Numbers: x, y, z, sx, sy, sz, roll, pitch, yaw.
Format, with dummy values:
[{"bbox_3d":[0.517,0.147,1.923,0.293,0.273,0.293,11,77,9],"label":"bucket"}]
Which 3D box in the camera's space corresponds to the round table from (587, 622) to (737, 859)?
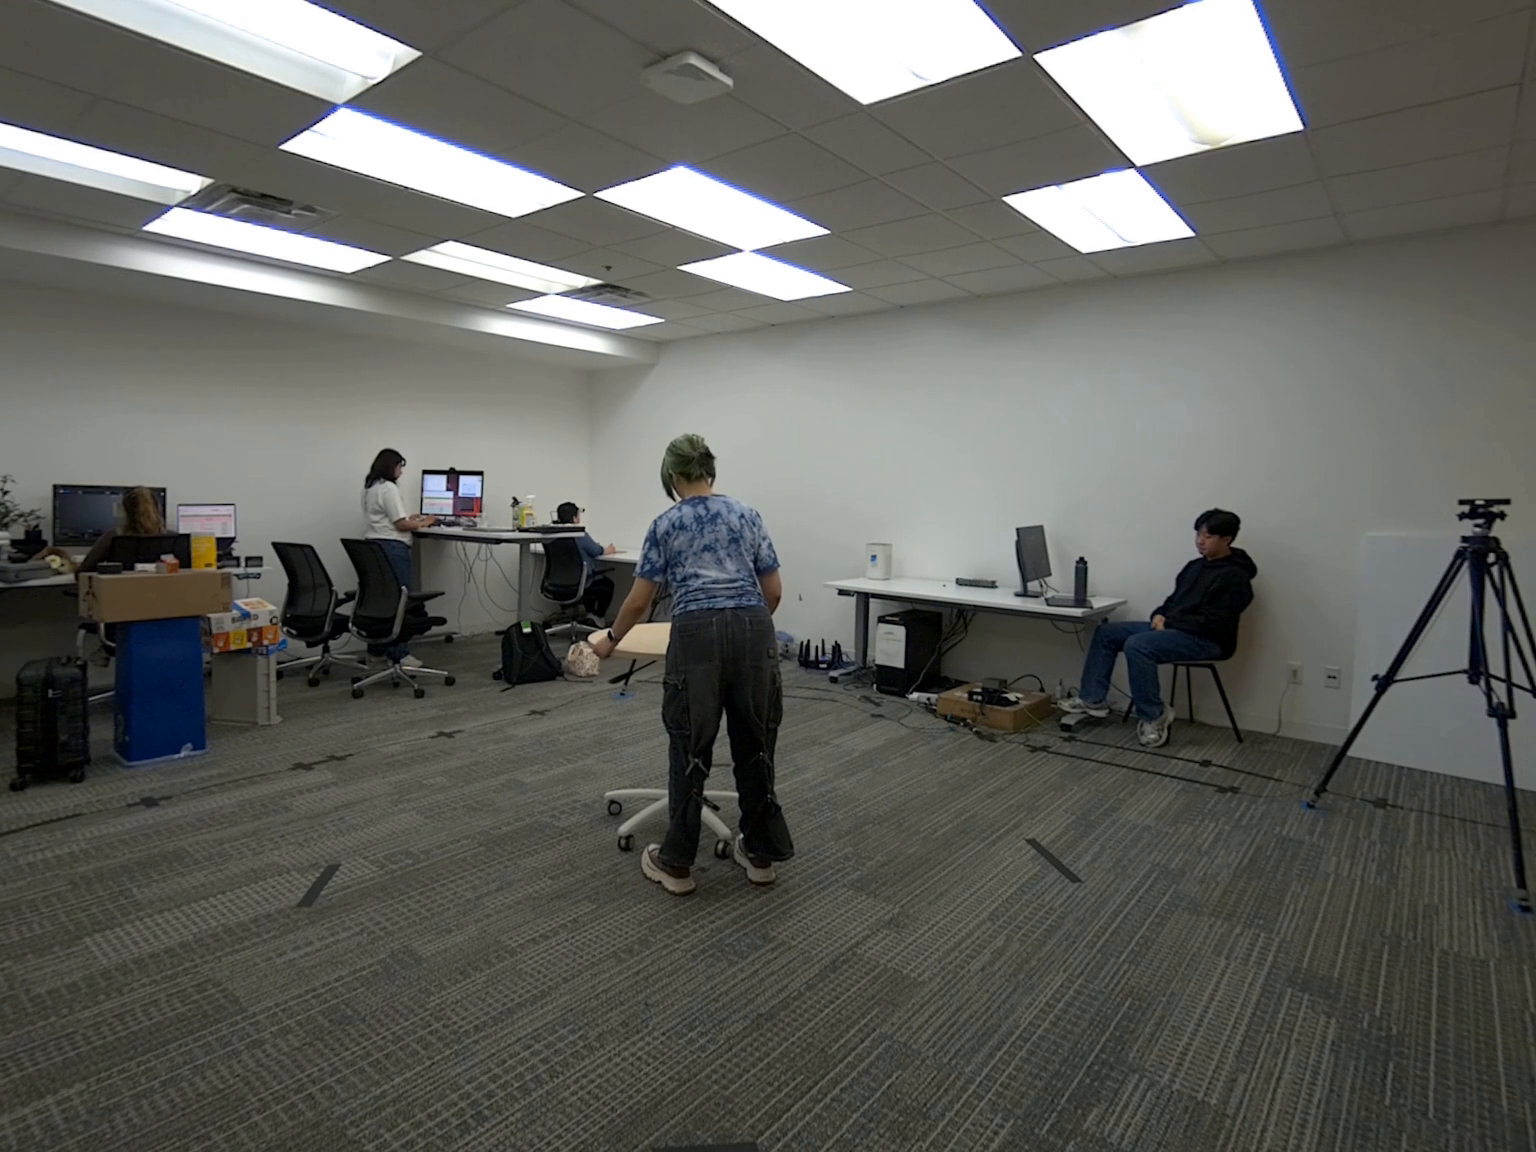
[{"bbox_3d":[-0.374,0.639,3.489,0.763,0.792,0.767,0,4,-2],"label":"round table"}]
